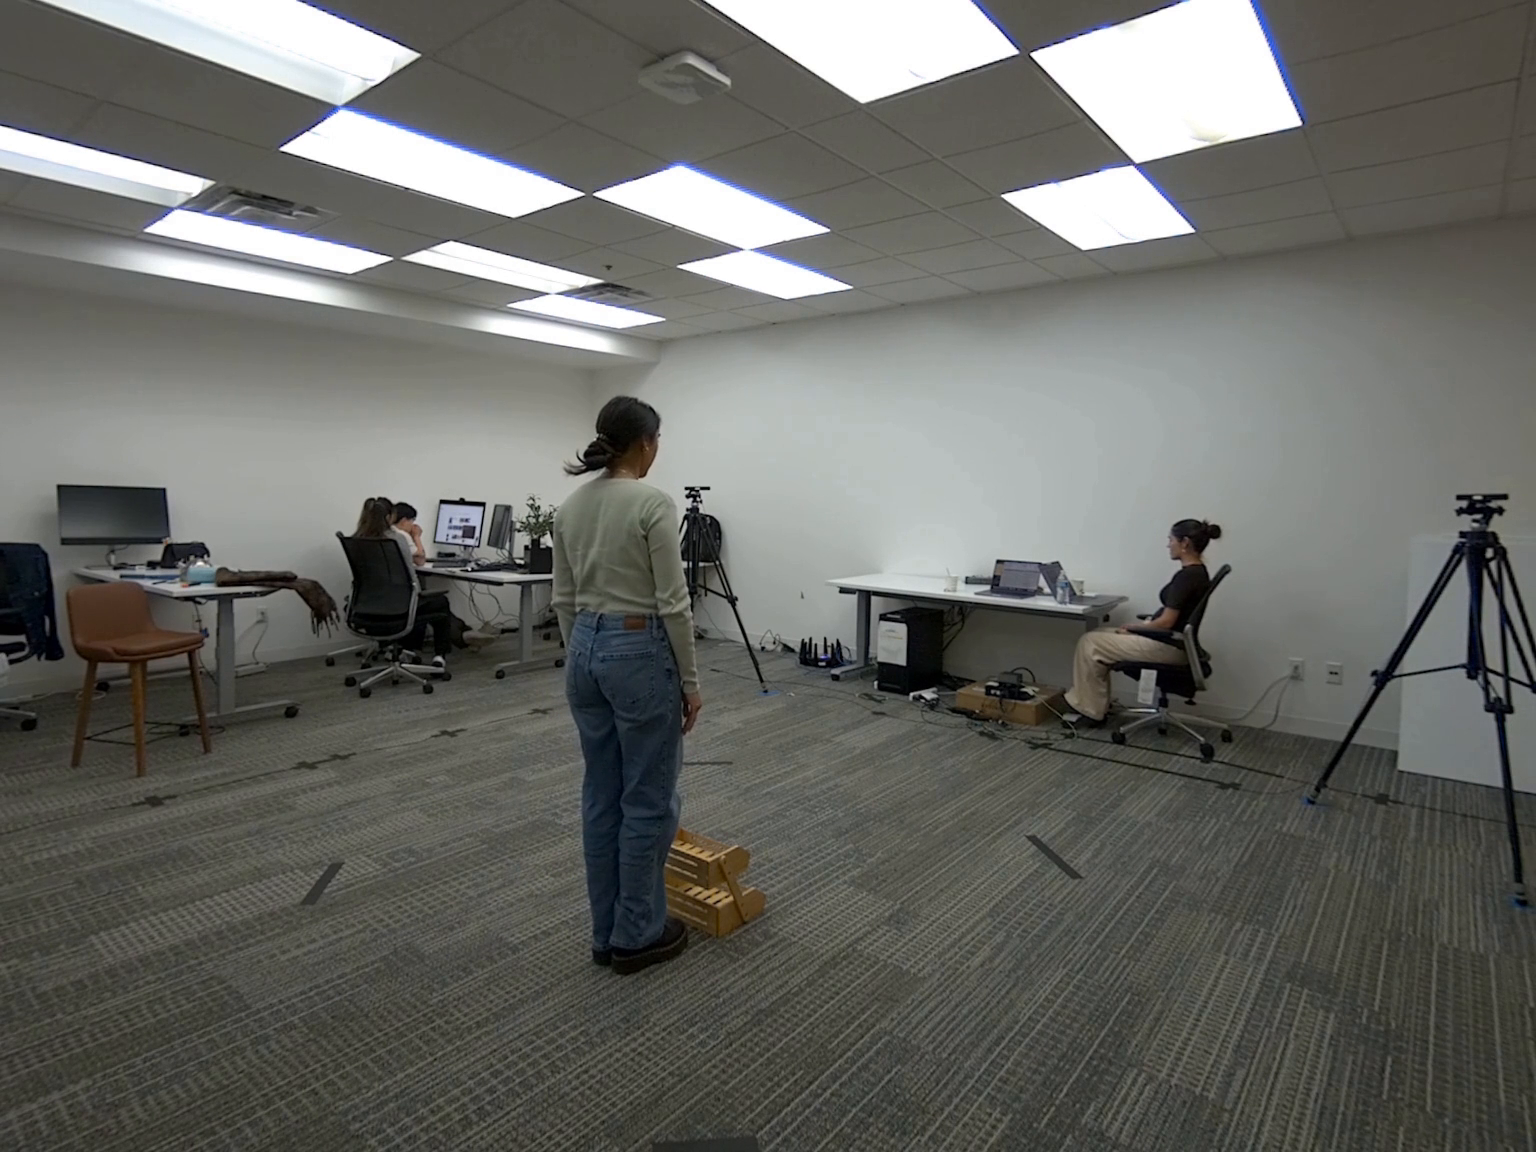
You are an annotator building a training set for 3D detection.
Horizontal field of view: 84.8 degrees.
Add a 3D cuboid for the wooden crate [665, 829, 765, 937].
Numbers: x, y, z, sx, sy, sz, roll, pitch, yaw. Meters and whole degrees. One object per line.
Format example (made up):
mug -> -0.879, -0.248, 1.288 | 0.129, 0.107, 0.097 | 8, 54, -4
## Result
wooden crate -> -0.221, 0.962, 2.784 | 0.335, 0.272, 0.293 | 4, 5, 37
